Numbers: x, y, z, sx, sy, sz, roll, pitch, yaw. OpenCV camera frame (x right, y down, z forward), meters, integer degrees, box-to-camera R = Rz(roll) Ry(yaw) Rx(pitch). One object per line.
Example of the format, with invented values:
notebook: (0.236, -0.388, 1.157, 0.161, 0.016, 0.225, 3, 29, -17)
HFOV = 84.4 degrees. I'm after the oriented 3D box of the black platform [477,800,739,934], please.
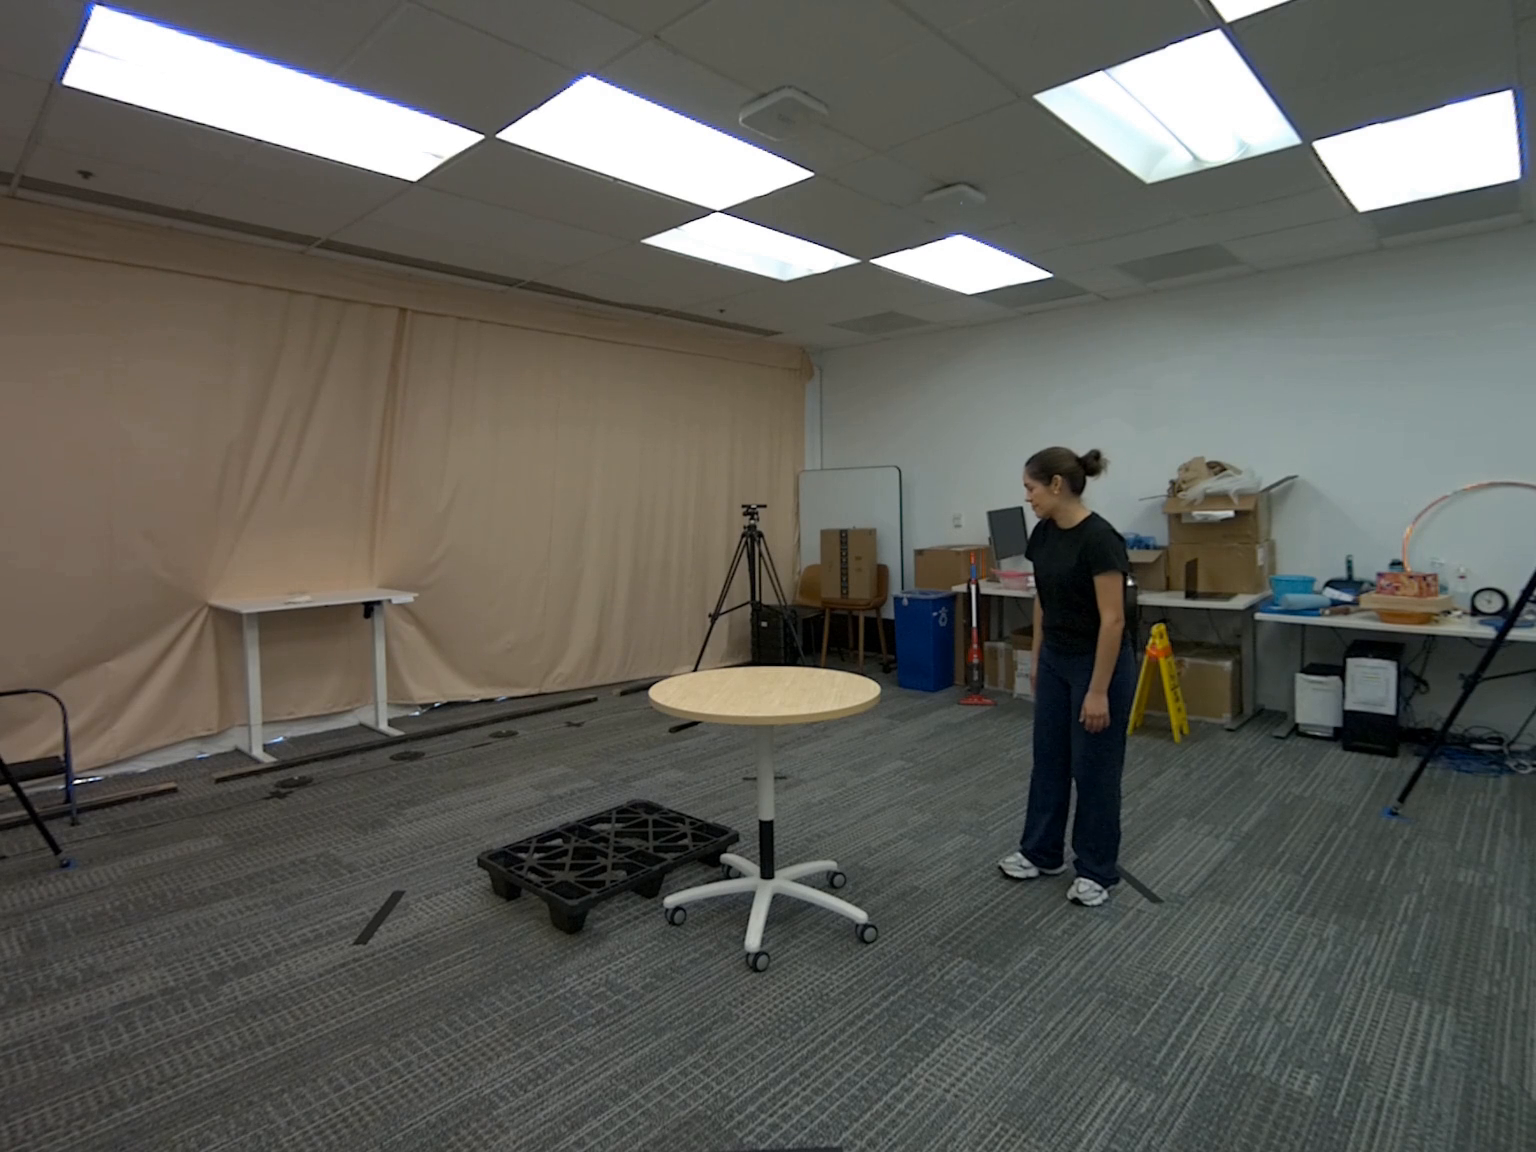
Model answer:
black platform: (-0.566, 1.076, 3.171, 0.625, 0.143, 0.781, 3, 7, 41)
